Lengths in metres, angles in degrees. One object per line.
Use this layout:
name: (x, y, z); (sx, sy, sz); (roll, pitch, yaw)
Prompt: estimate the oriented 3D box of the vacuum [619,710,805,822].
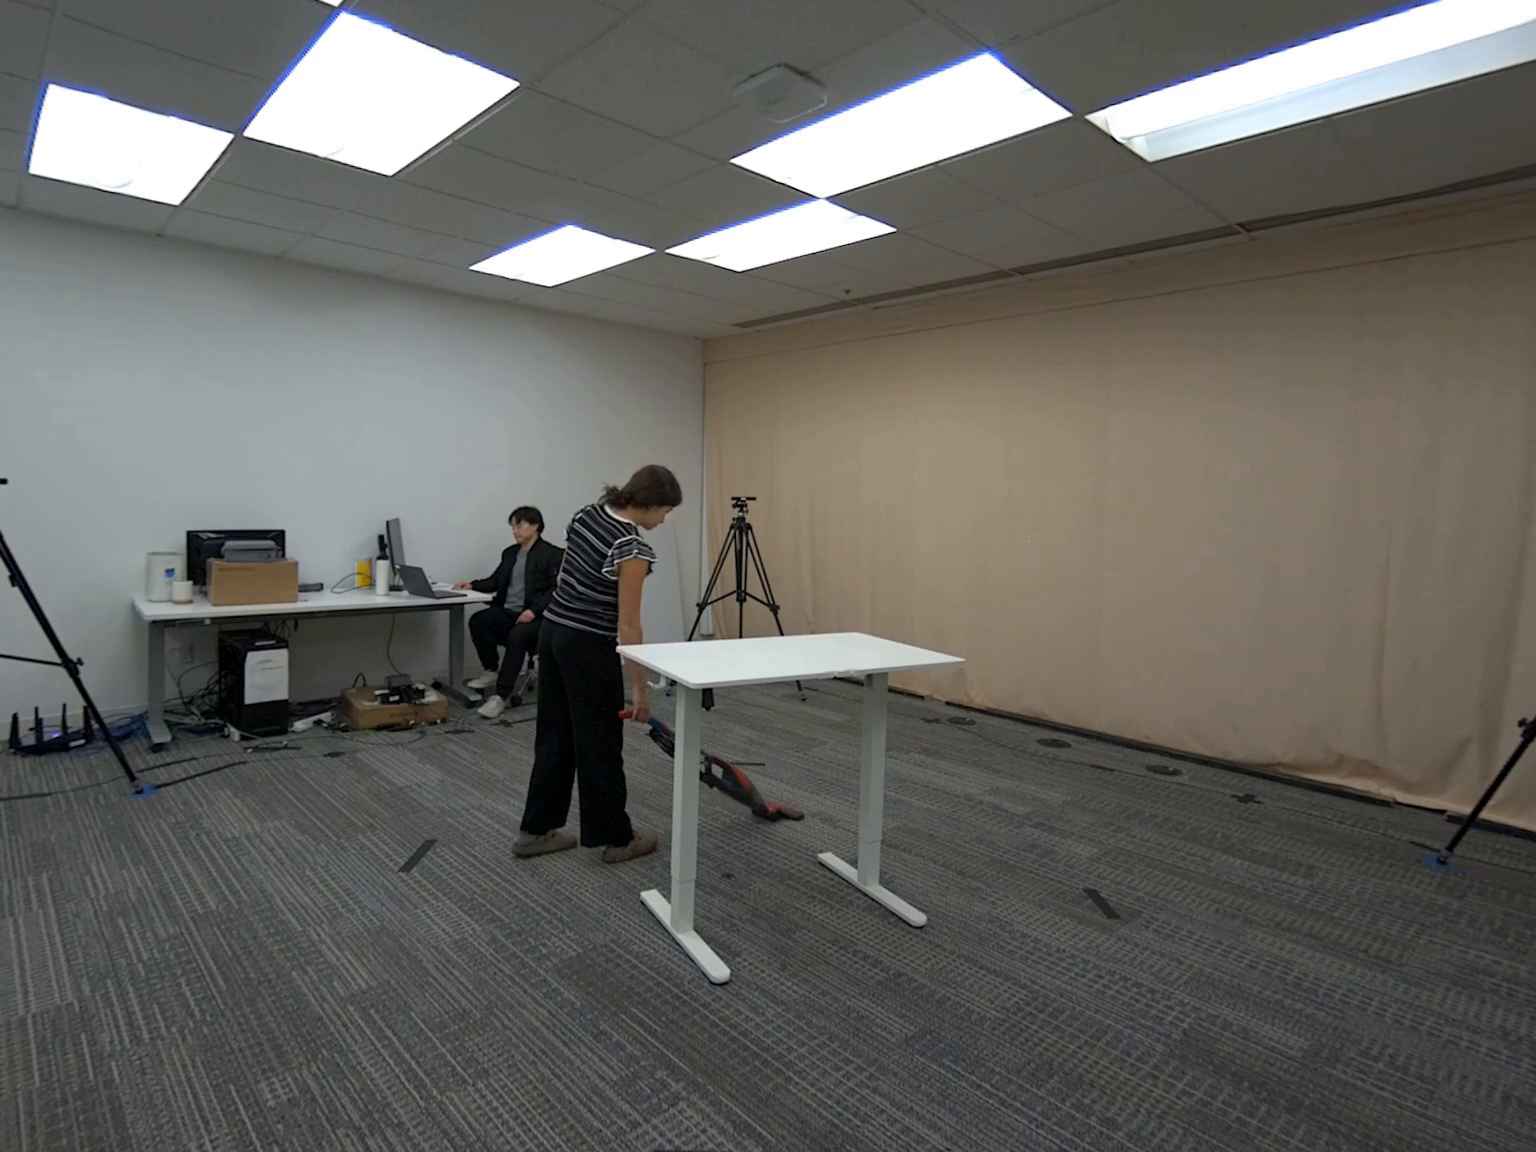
vacuum: (-0.251, 0.783, 3.420); (0.258, 0.145, 1.016); (-1, -32, 40)
